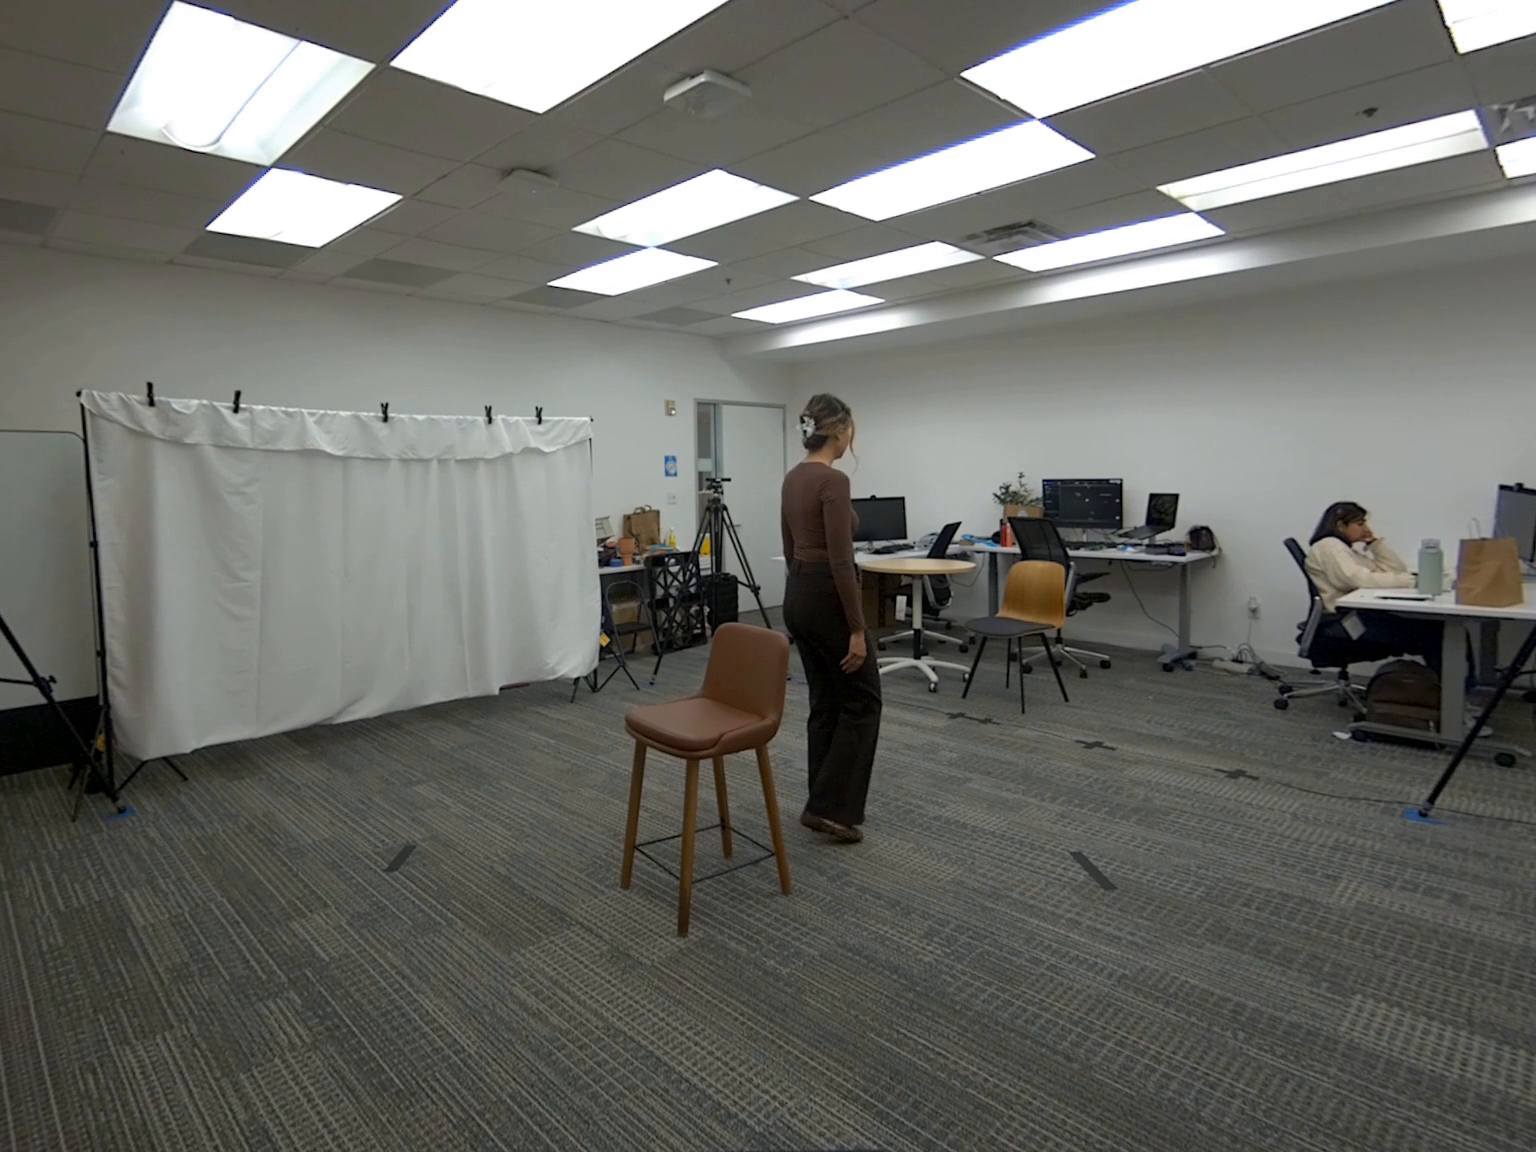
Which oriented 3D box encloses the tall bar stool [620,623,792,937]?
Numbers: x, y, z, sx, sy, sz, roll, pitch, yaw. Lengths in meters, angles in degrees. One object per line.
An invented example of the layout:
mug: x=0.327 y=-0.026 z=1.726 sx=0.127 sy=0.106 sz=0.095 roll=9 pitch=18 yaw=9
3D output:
tall bar stool: x=-0.207 y=0.634 z=2.876 sx=0.455 sy=0.887 sz=0.470 roll=-2 pitch=4 yaw=-36
